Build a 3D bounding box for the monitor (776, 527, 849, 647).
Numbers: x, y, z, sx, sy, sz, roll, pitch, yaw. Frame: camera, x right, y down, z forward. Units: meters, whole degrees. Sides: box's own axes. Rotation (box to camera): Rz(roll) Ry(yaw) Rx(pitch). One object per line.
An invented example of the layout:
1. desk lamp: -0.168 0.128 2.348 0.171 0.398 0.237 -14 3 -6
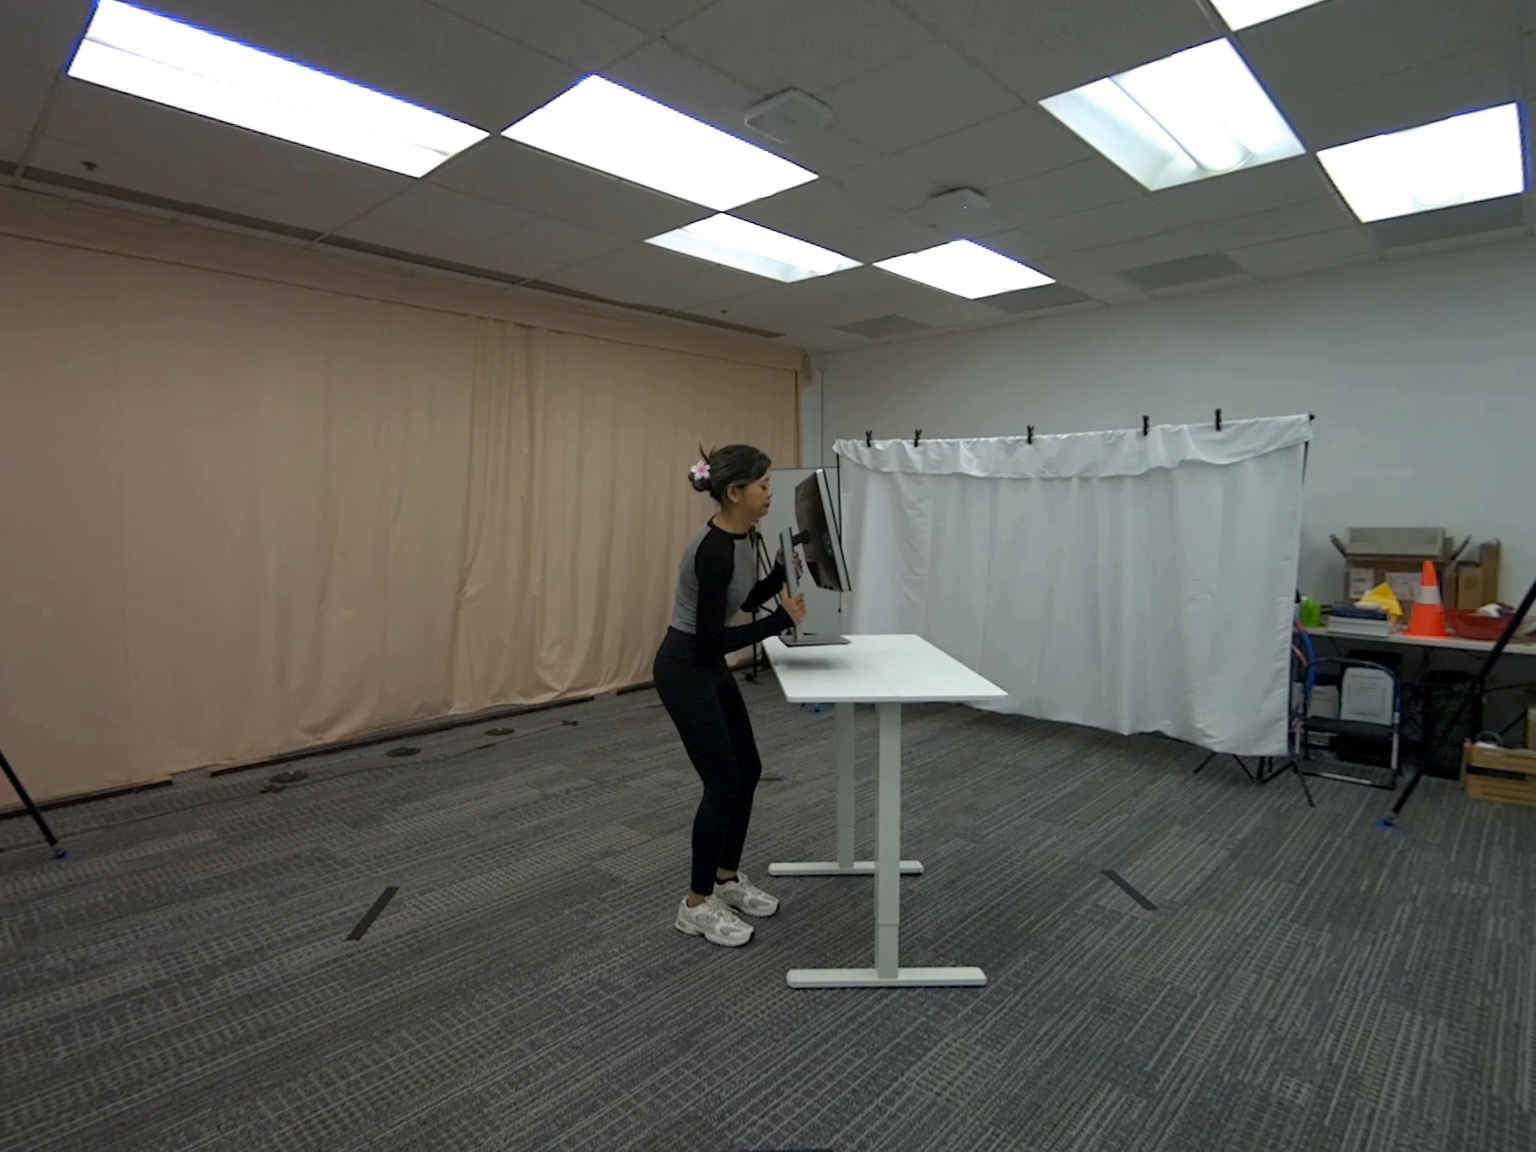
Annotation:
1. monitor: 0.131 -0.045 2.689 0.186 0.522 0.541 0 1 -5
